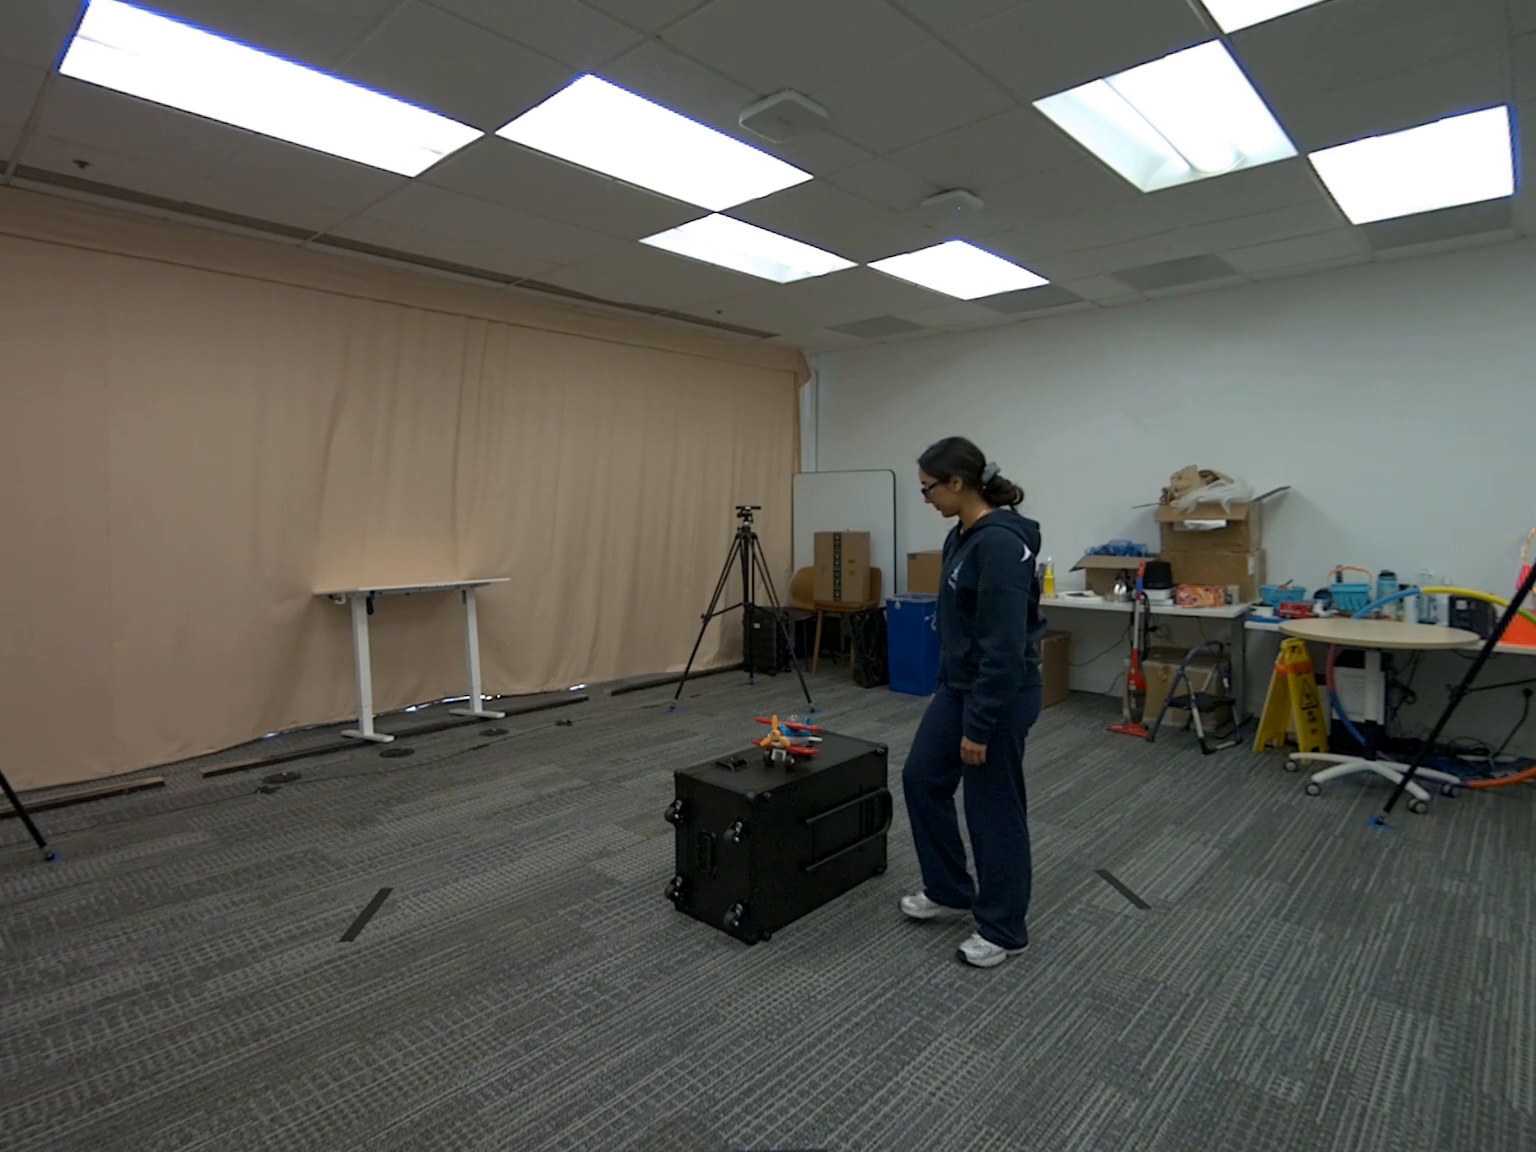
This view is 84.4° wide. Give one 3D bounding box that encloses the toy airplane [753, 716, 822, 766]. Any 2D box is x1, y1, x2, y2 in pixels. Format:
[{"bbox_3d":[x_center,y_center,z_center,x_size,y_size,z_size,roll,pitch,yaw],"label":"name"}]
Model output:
[{"bbox_3d":[0.088,0.578,3.016,0.253,0.156,0.258,-1,5,6],"label":"toy airplane"}]
